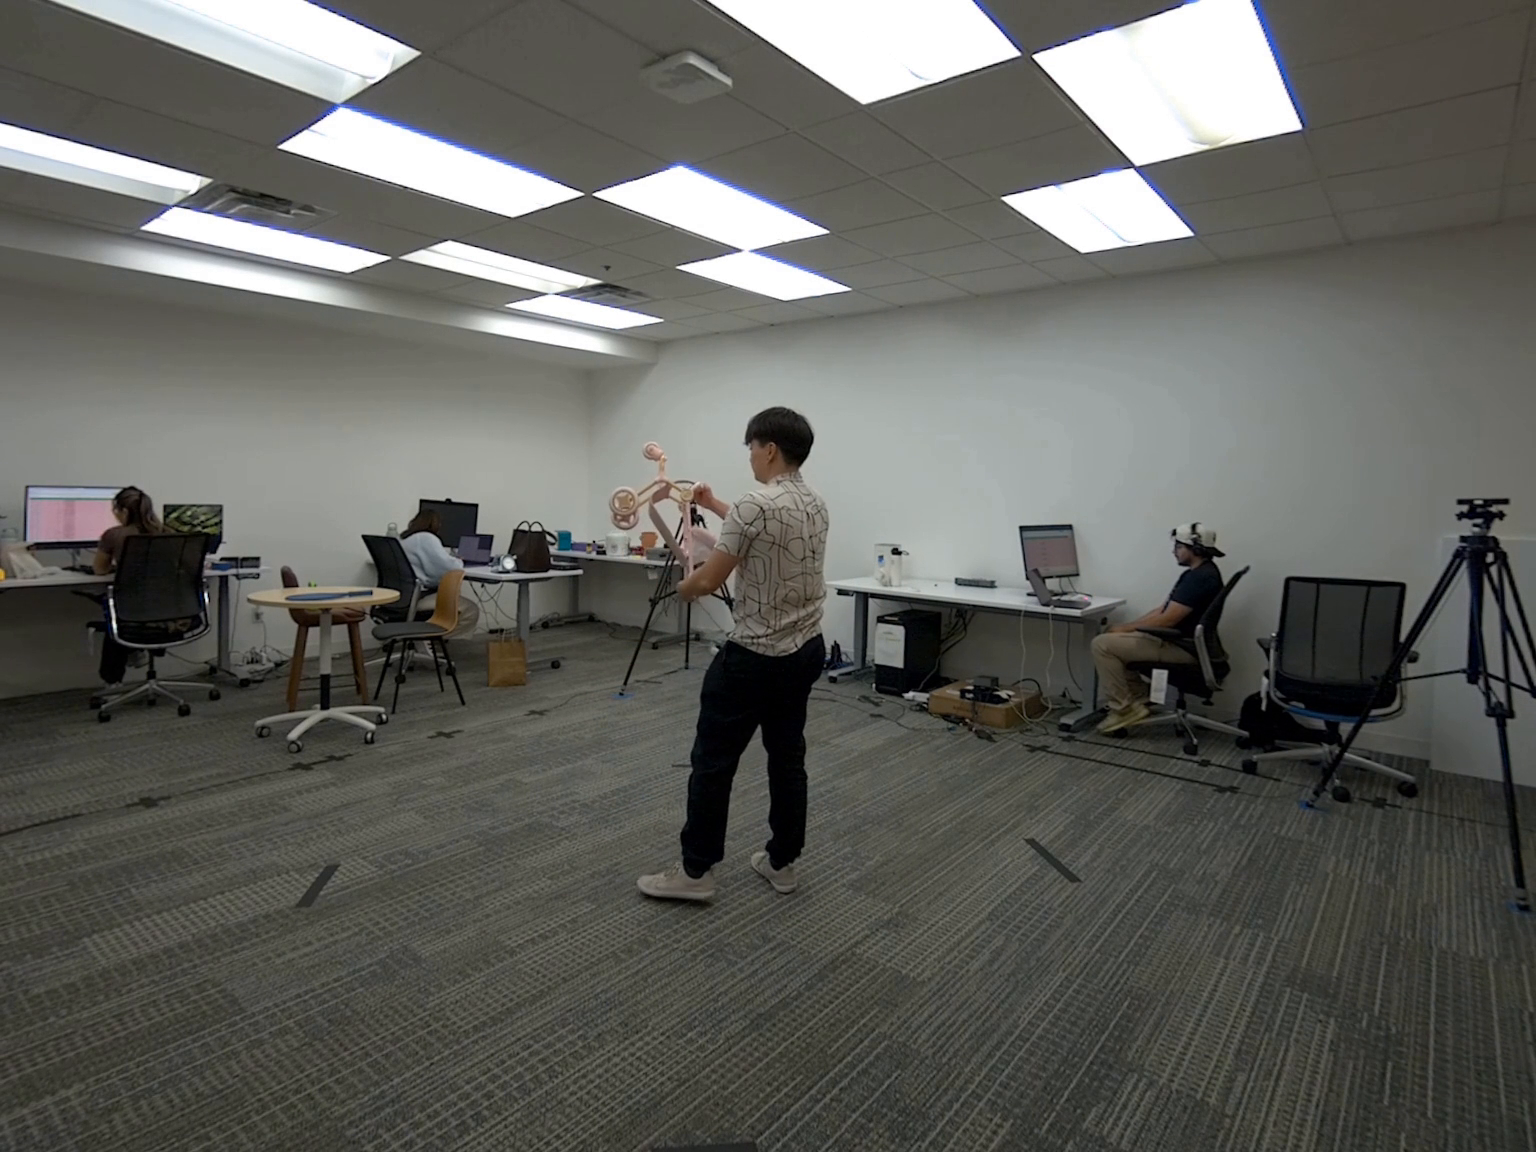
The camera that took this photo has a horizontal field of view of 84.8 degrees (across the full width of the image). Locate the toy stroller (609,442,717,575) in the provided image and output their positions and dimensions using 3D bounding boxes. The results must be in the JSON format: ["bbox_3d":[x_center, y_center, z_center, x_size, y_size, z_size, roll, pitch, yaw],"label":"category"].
[{"bbox_3d":[-0.378,-0.225,3.215,0.538,0.341,0.280,42,-16,4],"label":"toy stroller"}]
